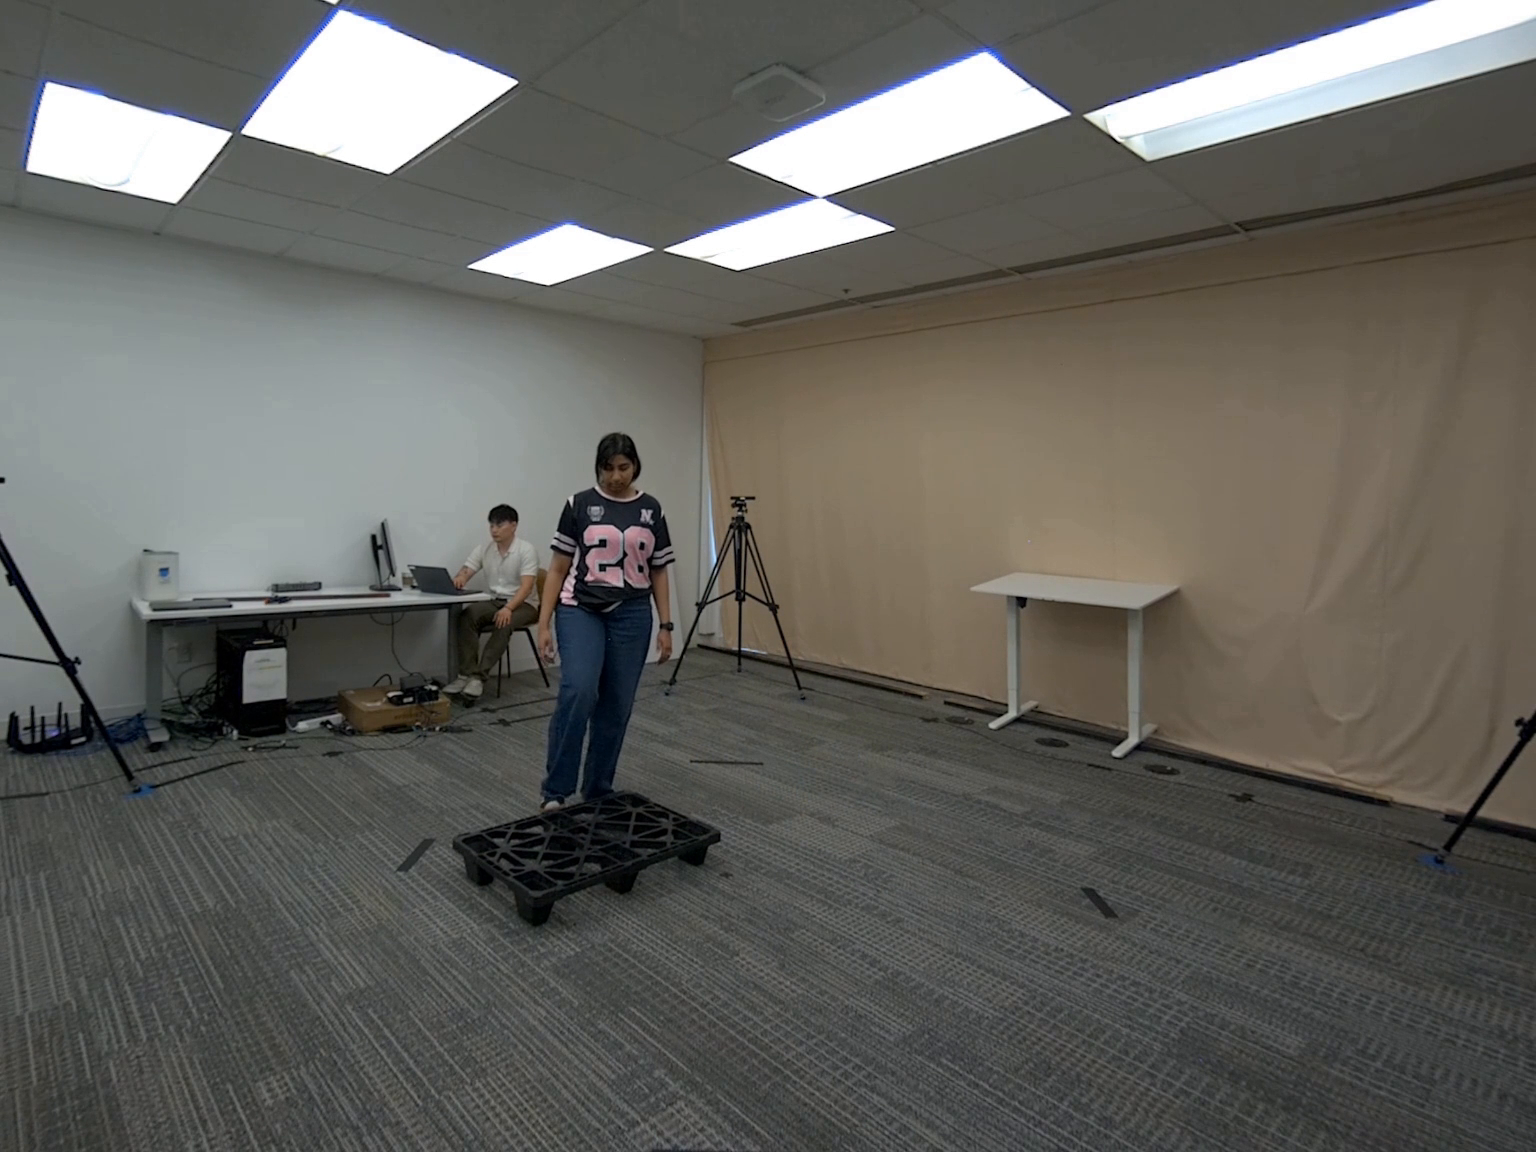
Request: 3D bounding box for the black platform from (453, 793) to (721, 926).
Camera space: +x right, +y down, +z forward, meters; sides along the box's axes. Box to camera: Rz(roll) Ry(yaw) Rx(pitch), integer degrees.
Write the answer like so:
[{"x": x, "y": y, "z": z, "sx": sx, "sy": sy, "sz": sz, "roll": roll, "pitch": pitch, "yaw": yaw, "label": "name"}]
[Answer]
[{"x": -0.660, "y": 1.025, "z": 3.111, "sx": 0.787, "sy": 0.143, "sz": 0.621, "roll": -4, "pitch": 8, "yaw": -44, "label": "black platform"}]
